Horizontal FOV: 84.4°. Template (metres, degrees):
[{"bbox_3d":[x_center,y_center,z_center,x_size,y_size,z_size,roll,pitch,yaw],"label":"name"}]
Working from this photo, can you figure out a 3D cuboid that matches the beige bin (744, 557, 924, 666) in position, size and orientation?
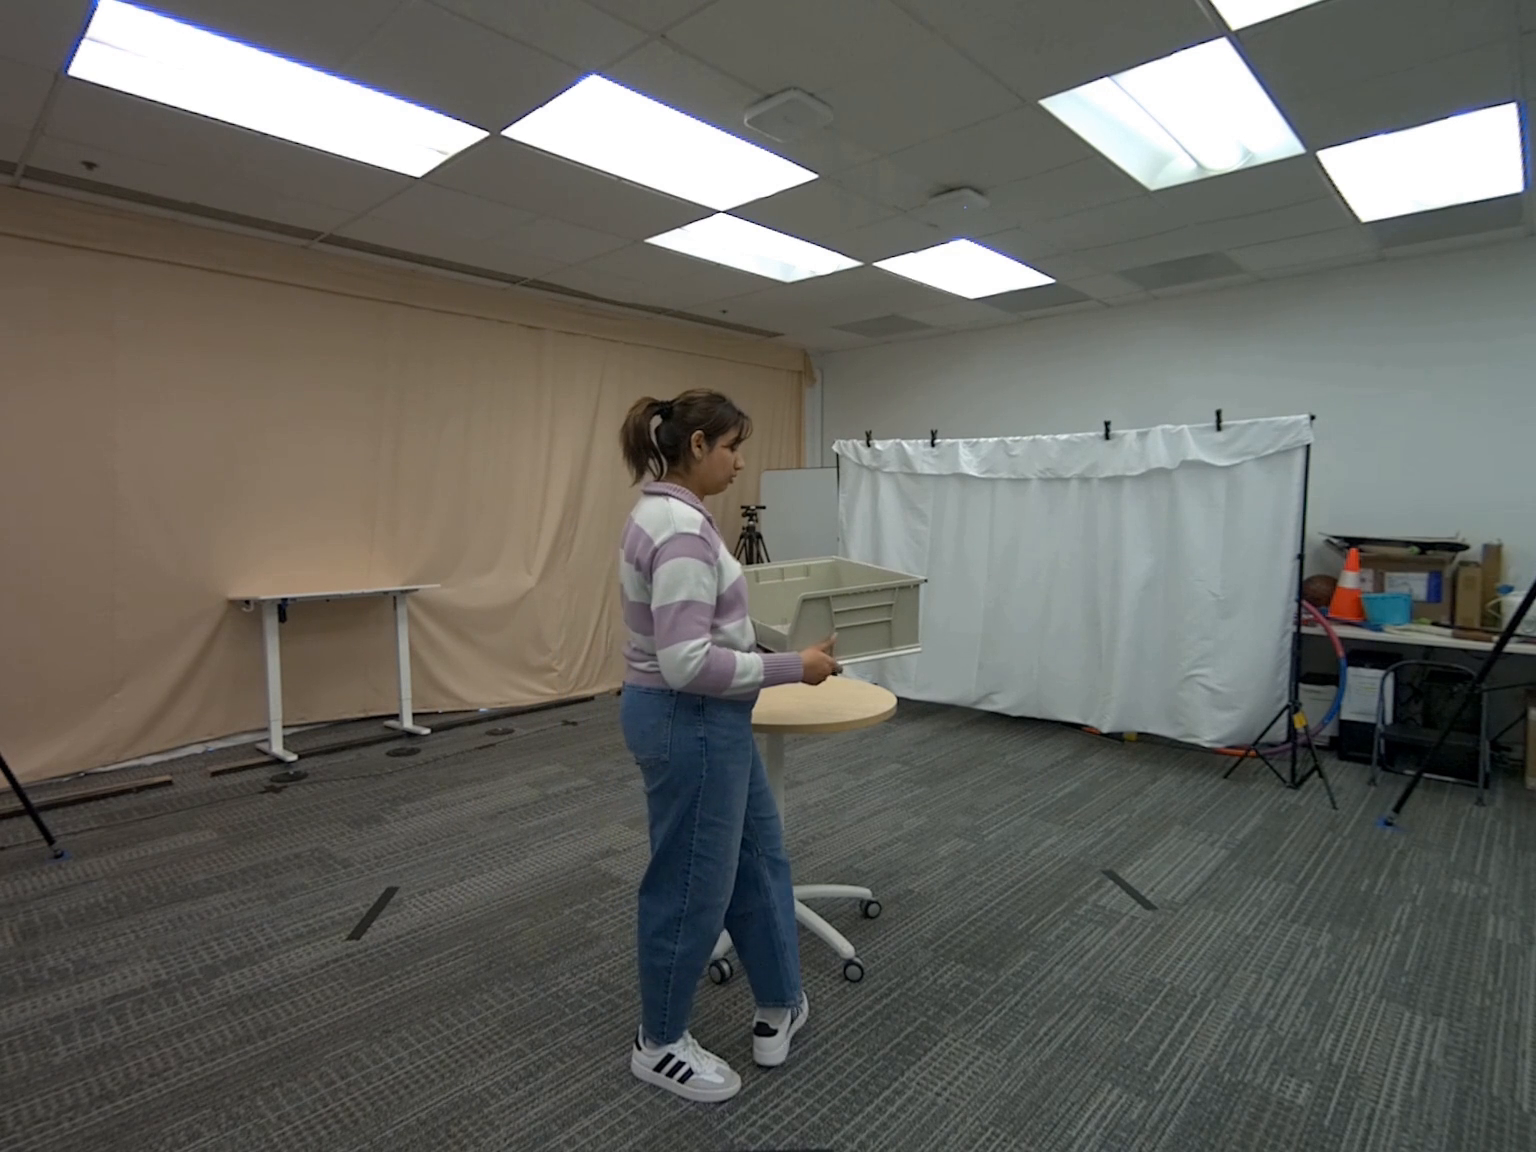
[{"bbox_3d":[0.120,0.084,2.097,0.369,0.188,0.434,-4,9,-24],"label":"beige bin"}]
